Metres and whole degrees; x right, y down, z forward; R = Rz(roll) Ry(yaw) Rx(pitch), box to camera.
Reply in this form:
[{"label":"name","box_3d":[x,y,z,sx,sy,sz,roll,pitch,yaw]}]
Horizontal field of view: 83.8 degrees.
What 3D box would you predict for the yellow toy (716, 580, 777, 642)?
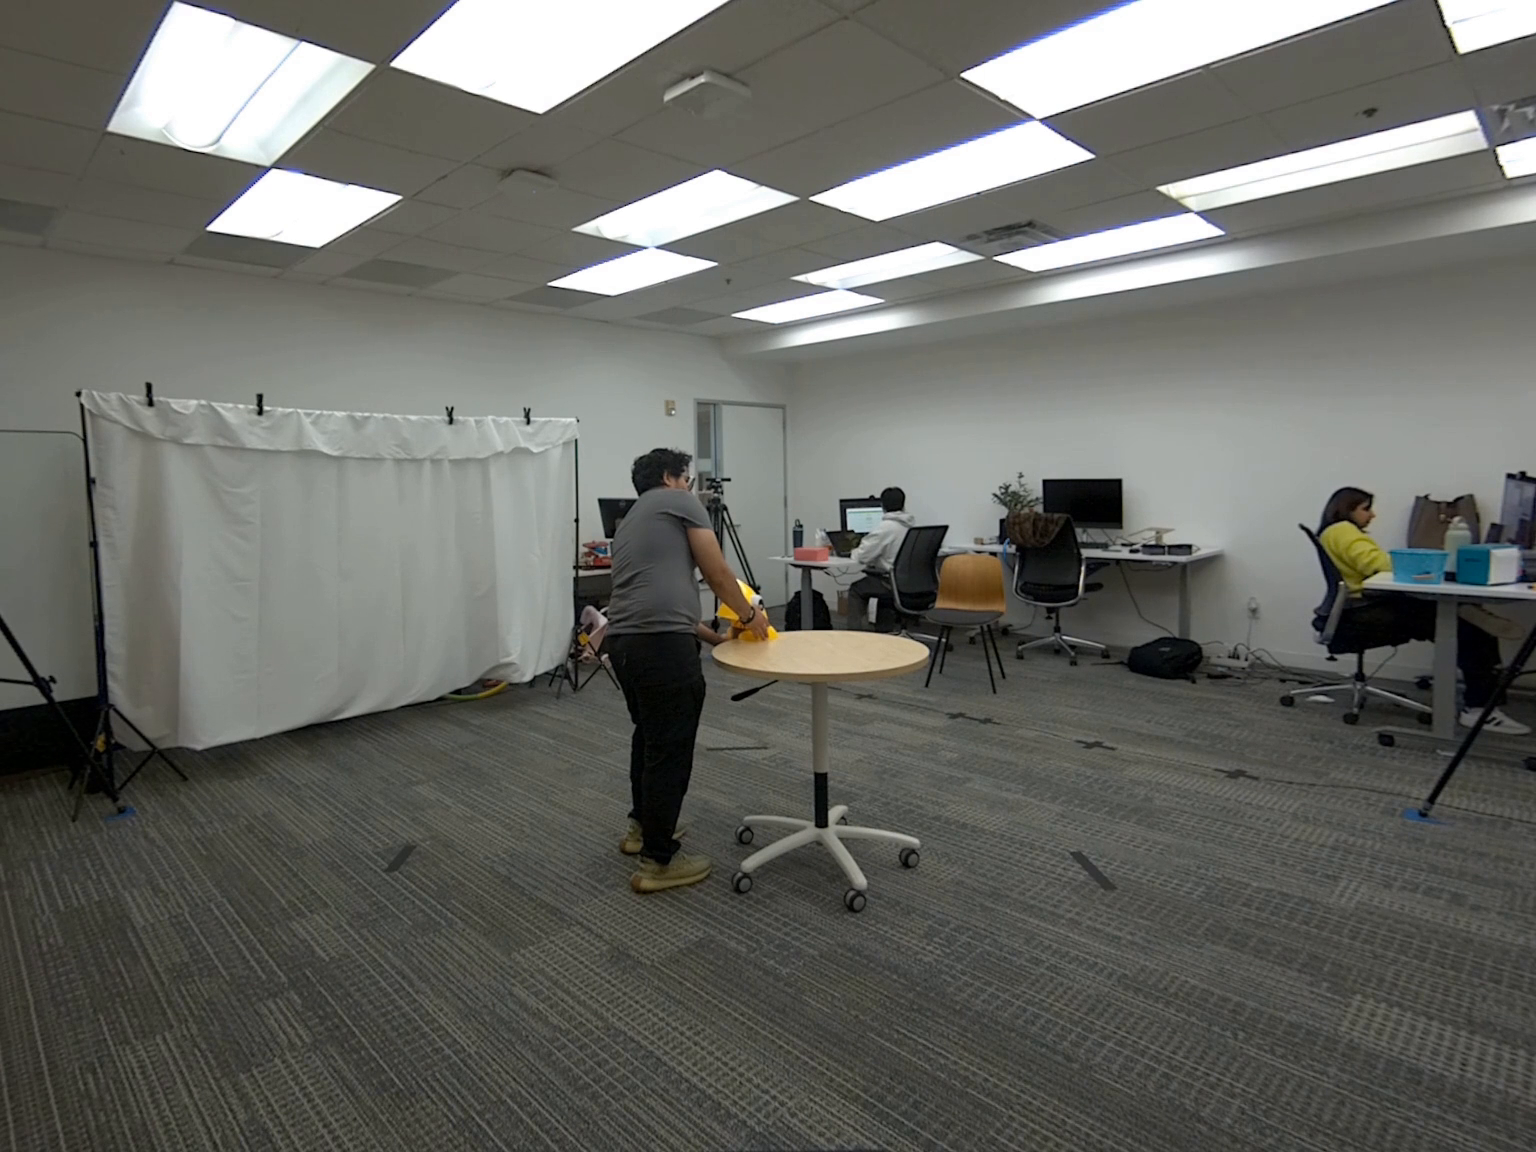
[{"label":"yellow toy","box_3d":[-0.075,0.122,3.335,0.188,0.230,0.211,-5,6,-35]}]
